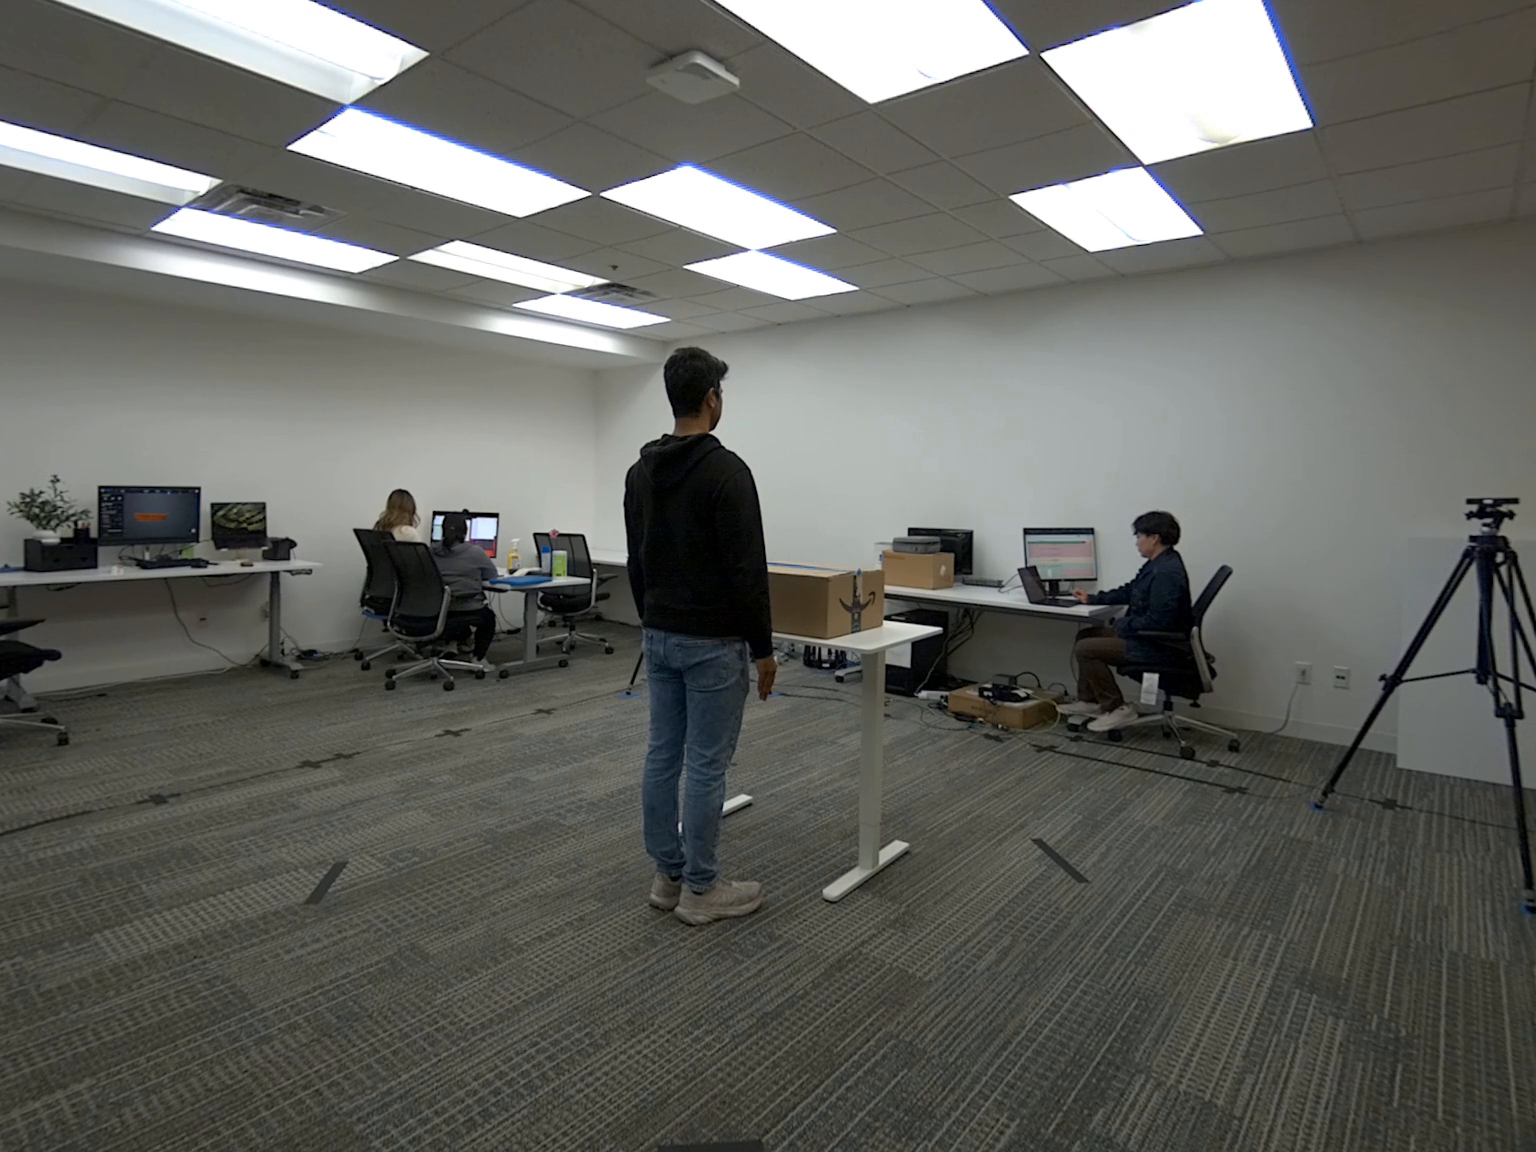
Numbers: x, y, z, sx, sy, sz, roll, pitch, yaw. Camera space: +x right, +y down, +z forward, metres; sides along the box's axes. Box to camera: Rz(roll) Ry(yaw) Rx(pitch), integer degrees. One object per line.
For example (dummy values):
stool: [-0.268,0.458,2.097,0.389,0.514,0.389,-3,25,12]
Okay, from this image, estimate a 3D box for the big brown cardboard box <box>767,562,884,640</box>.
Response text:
big brown cardboard box: [0.073,0.068,3.224,0.609,0.232,0.406,7,7,36]
